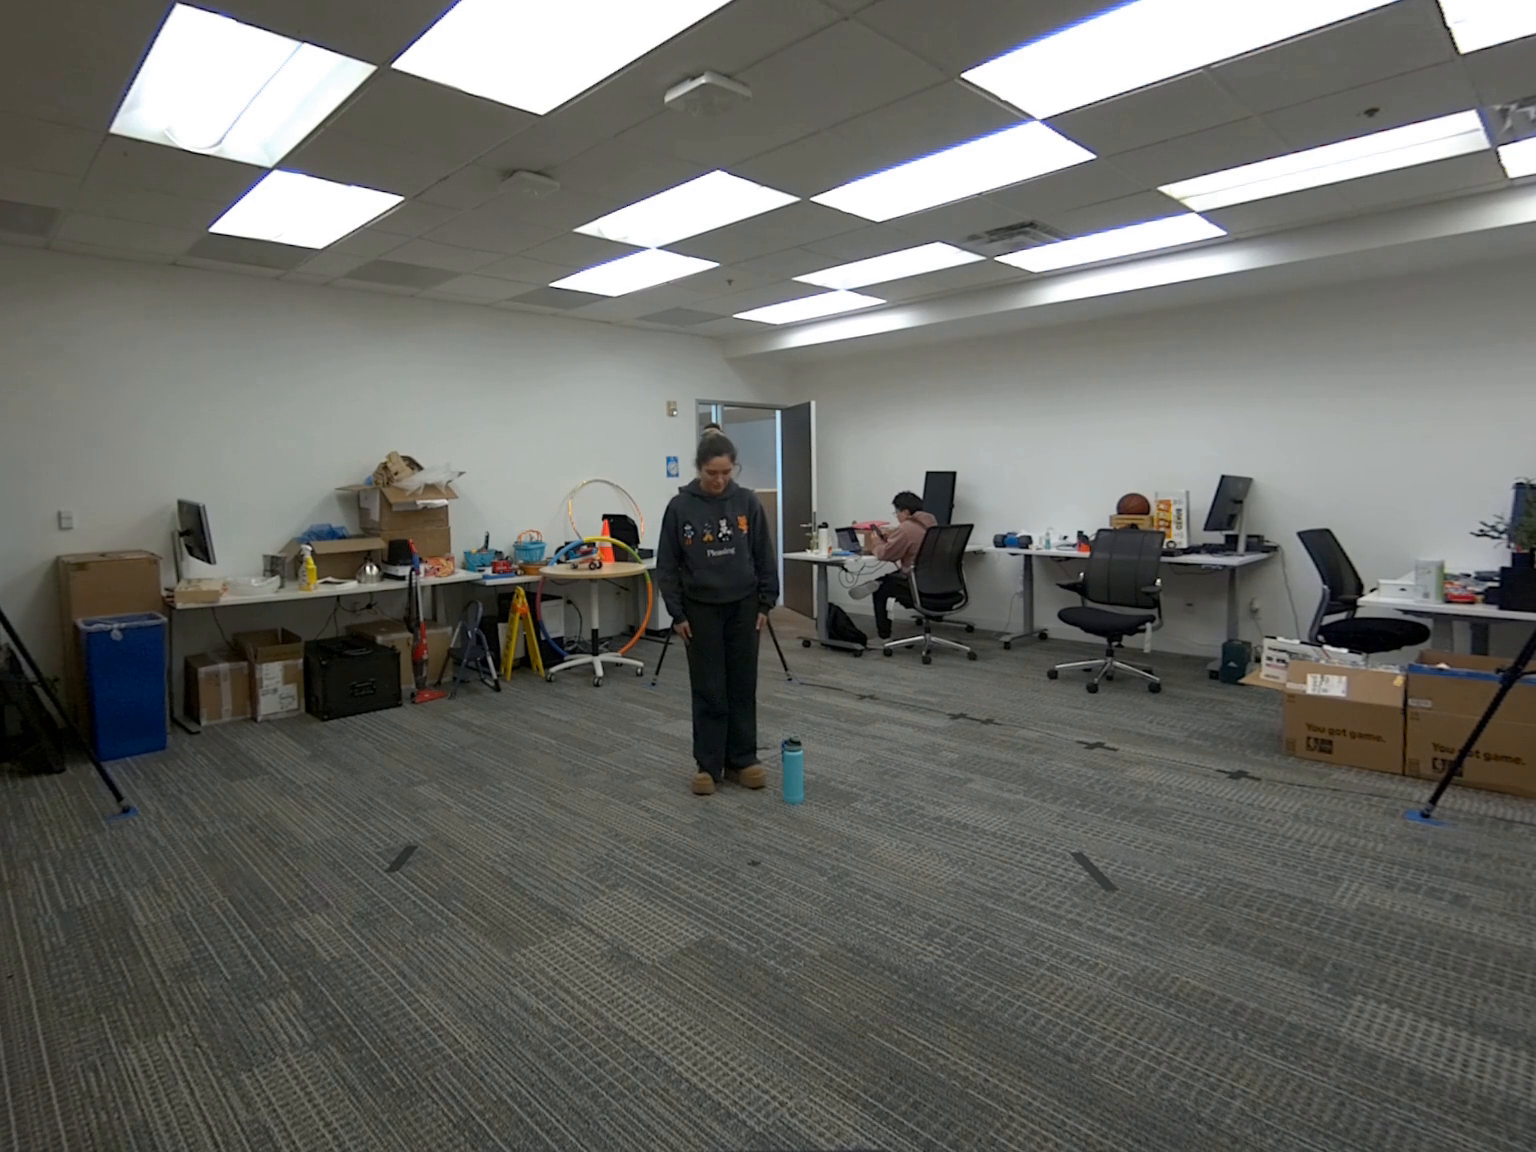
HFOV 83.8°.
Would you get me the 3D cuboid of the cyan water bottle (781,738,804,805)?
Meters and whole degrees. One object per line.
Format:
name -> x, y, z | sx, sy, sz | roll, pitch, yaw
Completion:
cyan water bottle -> 0.109, 0.838, 3.684 | 0.092, 0.282, 0.092 | -3, 3, -1
